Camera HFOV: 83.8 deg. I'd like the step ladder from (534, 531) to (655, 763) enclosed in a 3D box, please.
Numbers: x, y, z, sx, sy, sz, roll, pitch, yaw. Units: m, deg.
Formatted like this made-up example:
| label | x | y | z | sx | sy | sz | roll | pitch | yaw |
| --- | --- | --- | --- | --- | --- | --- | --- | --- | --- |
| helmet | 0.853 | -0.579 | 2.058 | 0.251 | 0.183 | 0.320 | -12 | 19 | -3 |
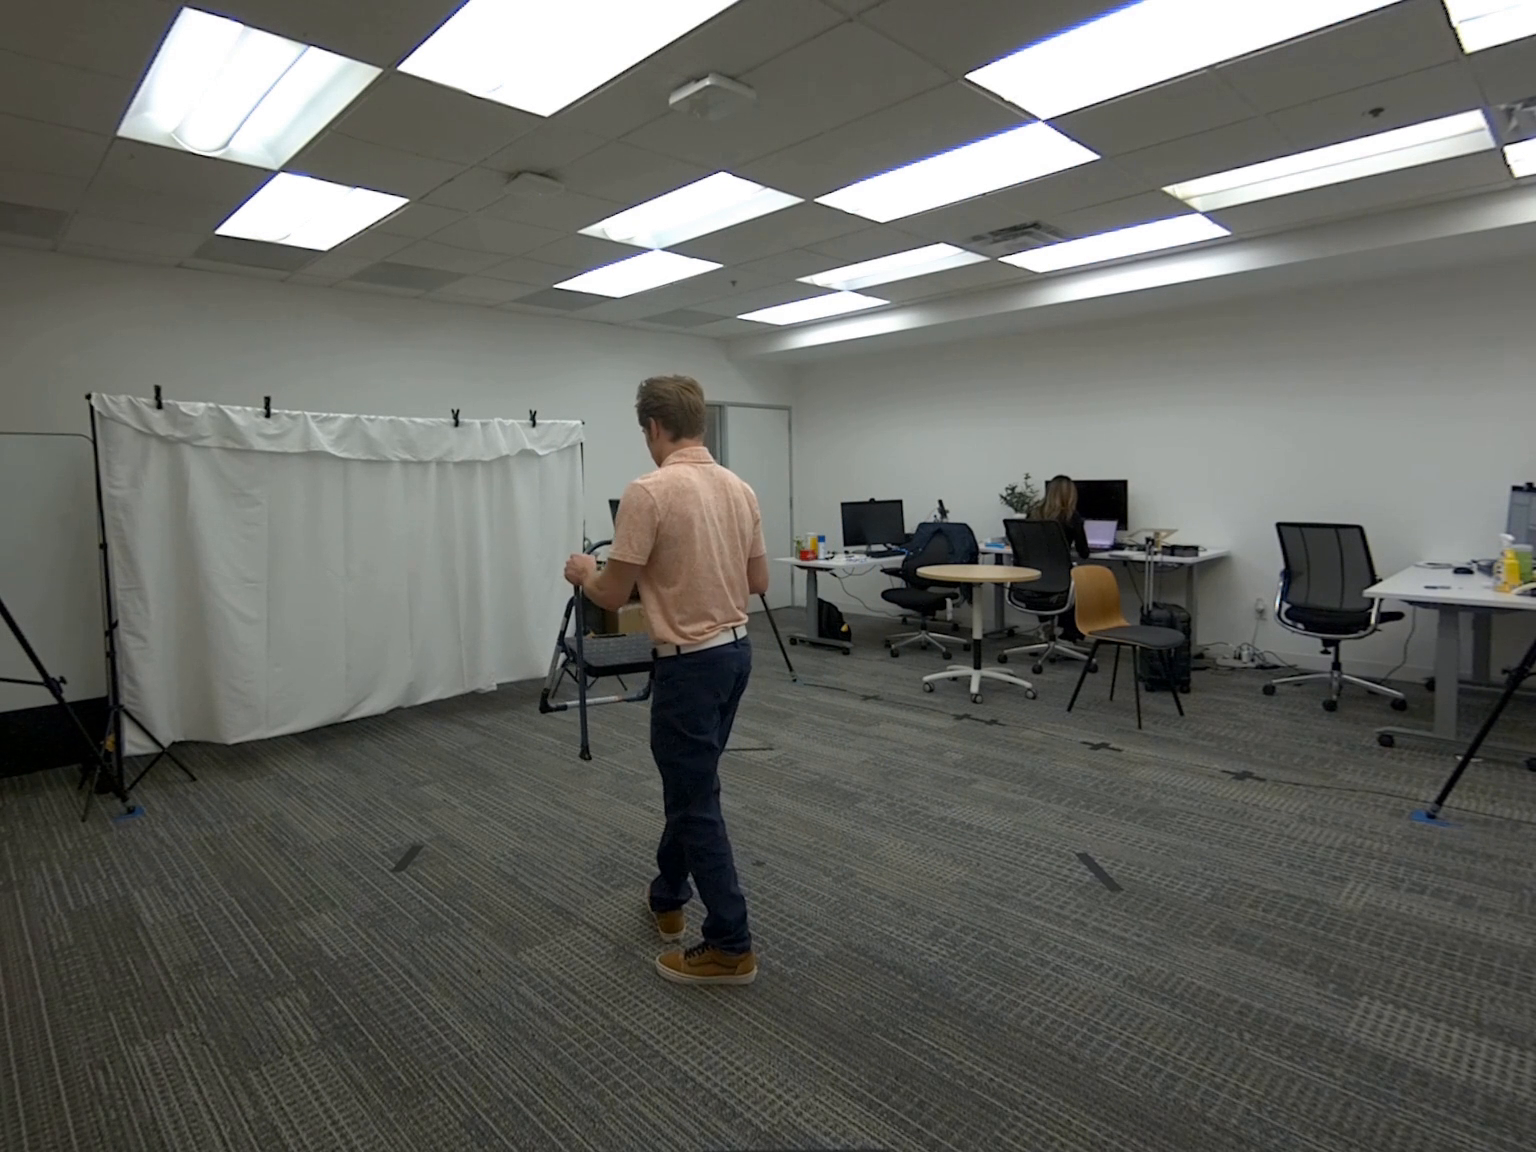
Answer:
| label | x | y | z | sx | sy | sz | roll | pitch | yaw |
| --- | --- | --- | --- | --- | --- | --- | --- | --- | --- |
| step ladder | -0.430 | 0.197 | 2.704 | 0.418 | 0.601 | 0.362 | 0 | 15 | -40 |
